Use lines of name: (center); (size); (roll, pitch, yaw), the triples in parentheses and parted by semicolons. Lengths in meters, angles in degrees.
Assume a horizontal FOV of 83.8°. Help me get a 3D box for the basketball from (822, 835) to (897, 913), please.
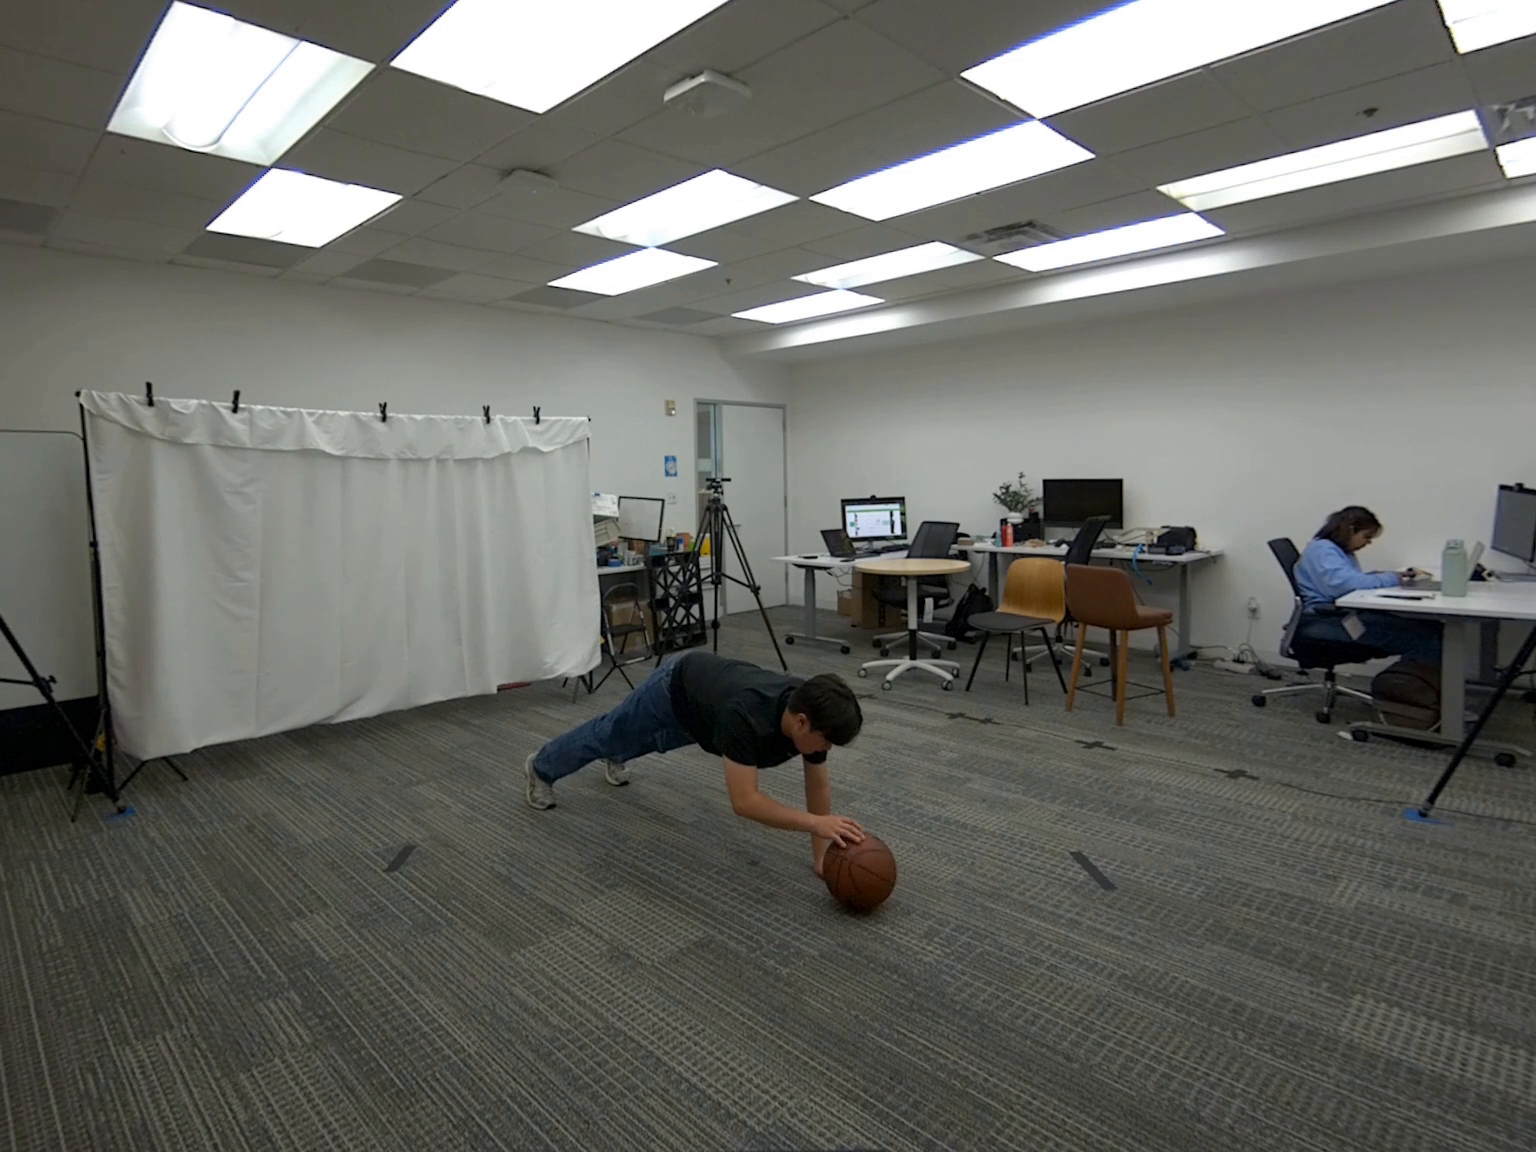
basketball: (0.299, 0.952, 2.778); (0.236, 0.235, 0.237); (-1, 5, -2)
